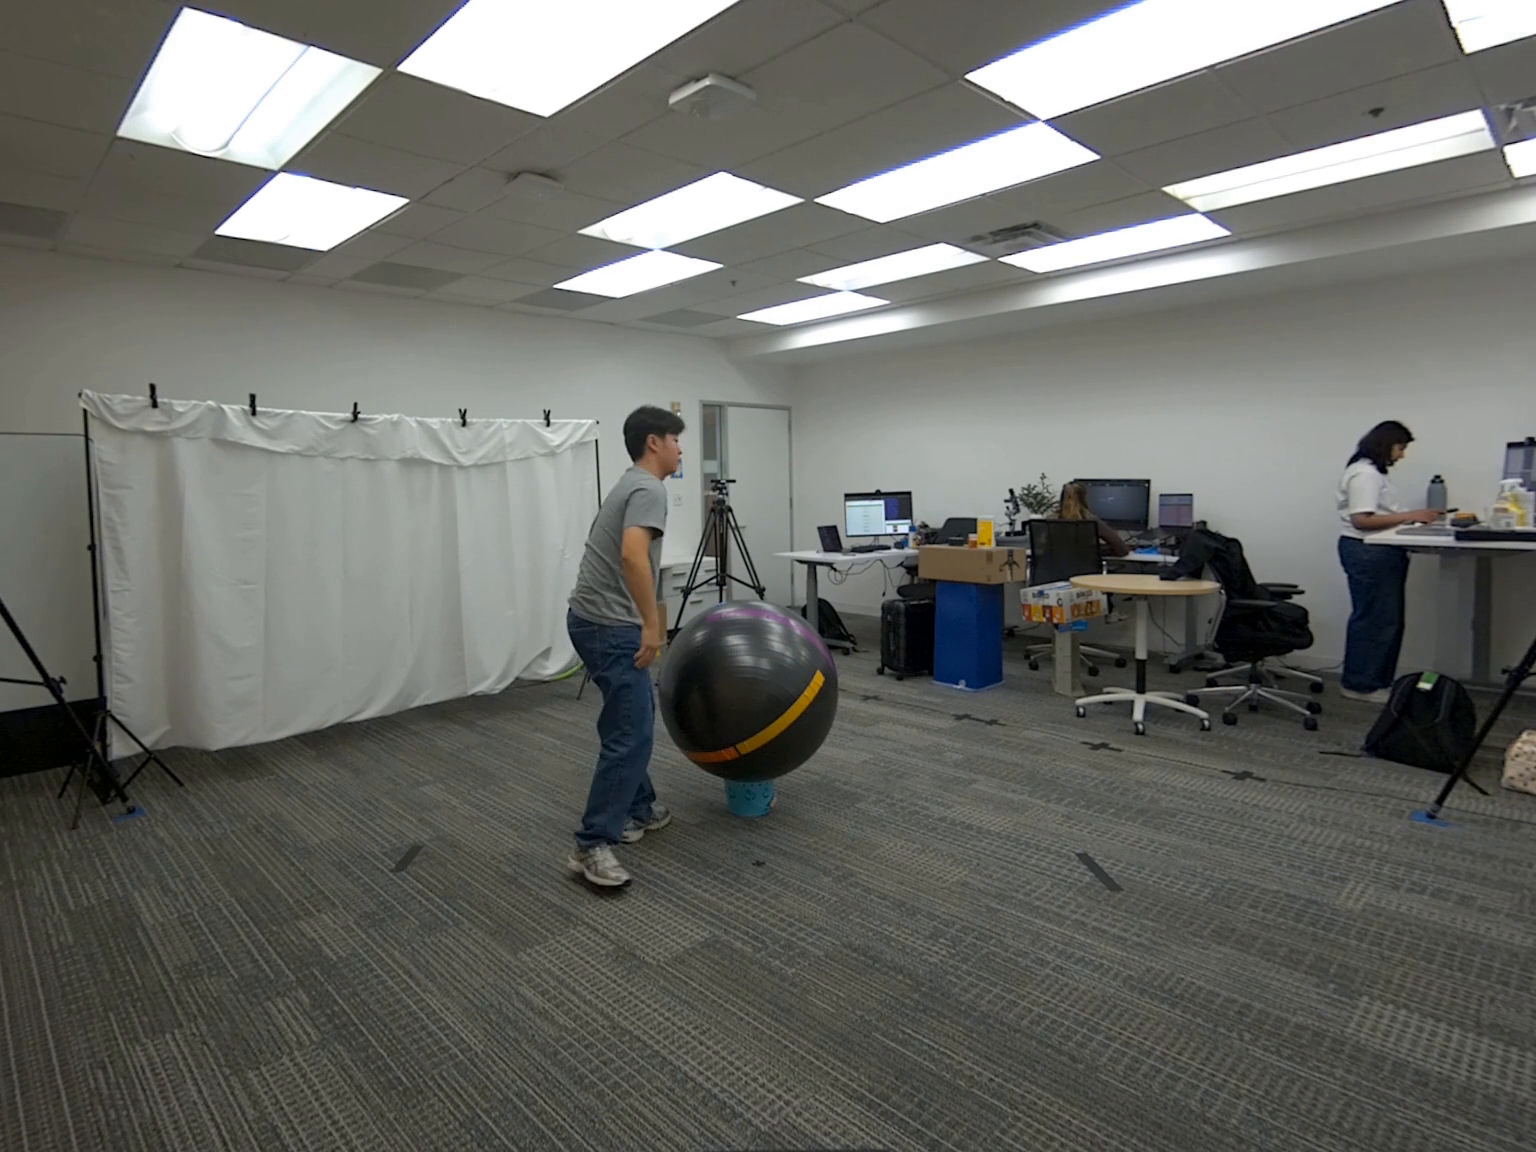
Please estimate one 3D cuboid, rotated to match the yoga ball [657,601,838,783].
[{"bbox_3d":[-0.087,0.479,3.608,0.757,0.755,0.762,-1,5,-2],"label":"yoga ball"}]
